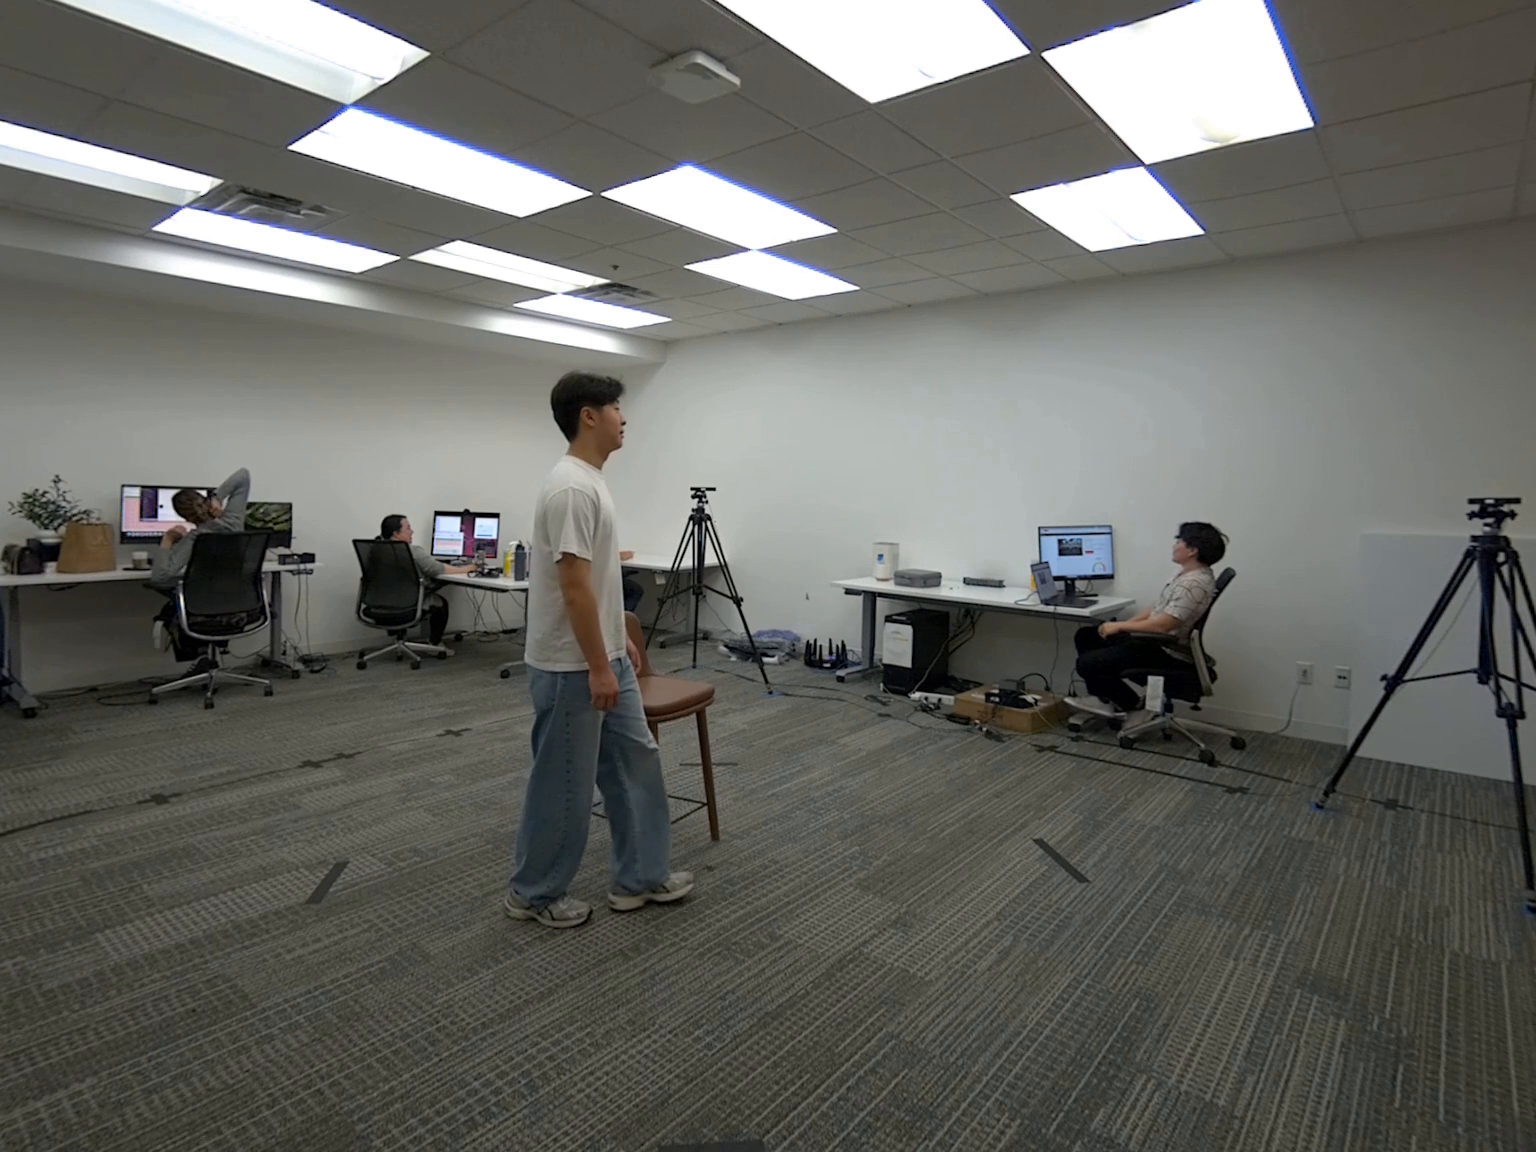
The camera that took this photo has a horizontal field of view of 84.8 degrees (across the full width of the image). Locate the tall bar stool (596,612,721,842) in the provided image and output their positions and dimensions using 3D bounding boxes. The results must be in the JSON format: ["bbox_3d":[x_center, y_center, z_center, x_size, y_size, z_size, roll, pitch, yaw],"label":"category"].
[{"bbox_3d":[-0.487,0.605,3.308,0.481,0.888,0.444,1,2,32],"label":"tall bar stool"}]
